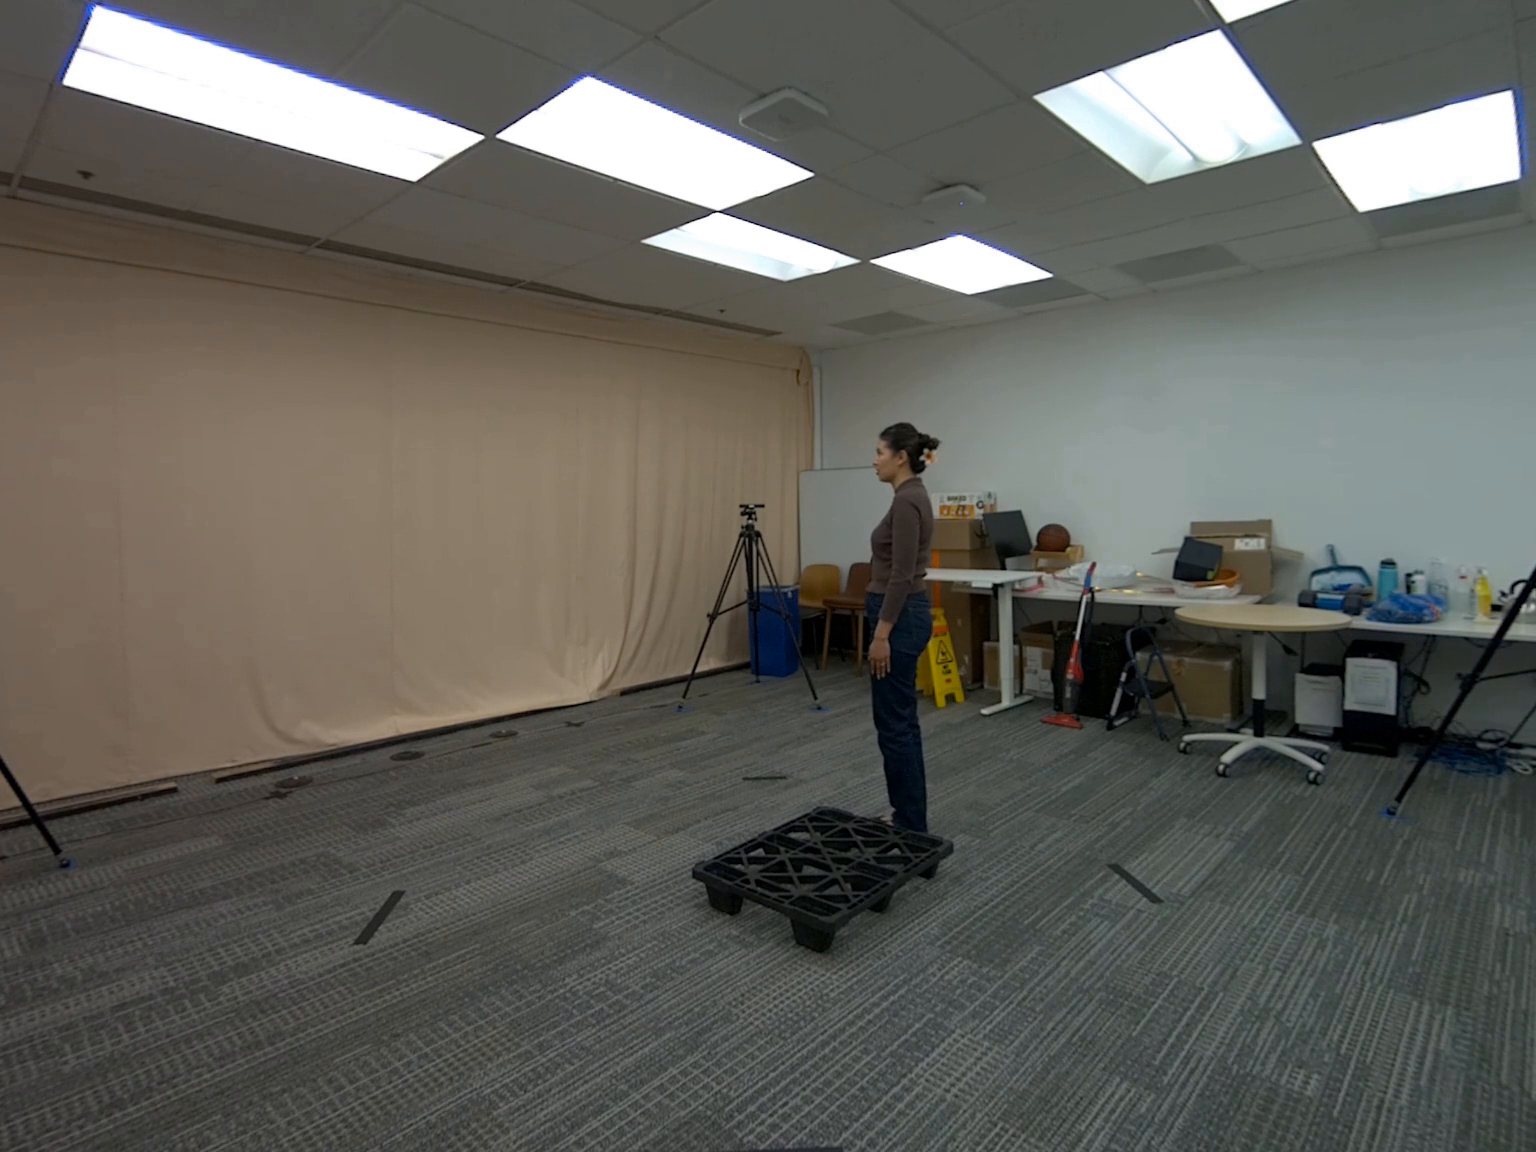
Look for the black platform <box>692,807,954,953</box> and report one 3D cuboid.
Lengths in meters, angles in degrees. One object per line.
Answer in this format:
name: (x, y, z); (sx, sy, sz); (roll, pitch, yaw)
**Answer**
black platform: (0.217, 1.066, 3.021); (0.625, 0.143, 0.781); (4, 7, 40)
